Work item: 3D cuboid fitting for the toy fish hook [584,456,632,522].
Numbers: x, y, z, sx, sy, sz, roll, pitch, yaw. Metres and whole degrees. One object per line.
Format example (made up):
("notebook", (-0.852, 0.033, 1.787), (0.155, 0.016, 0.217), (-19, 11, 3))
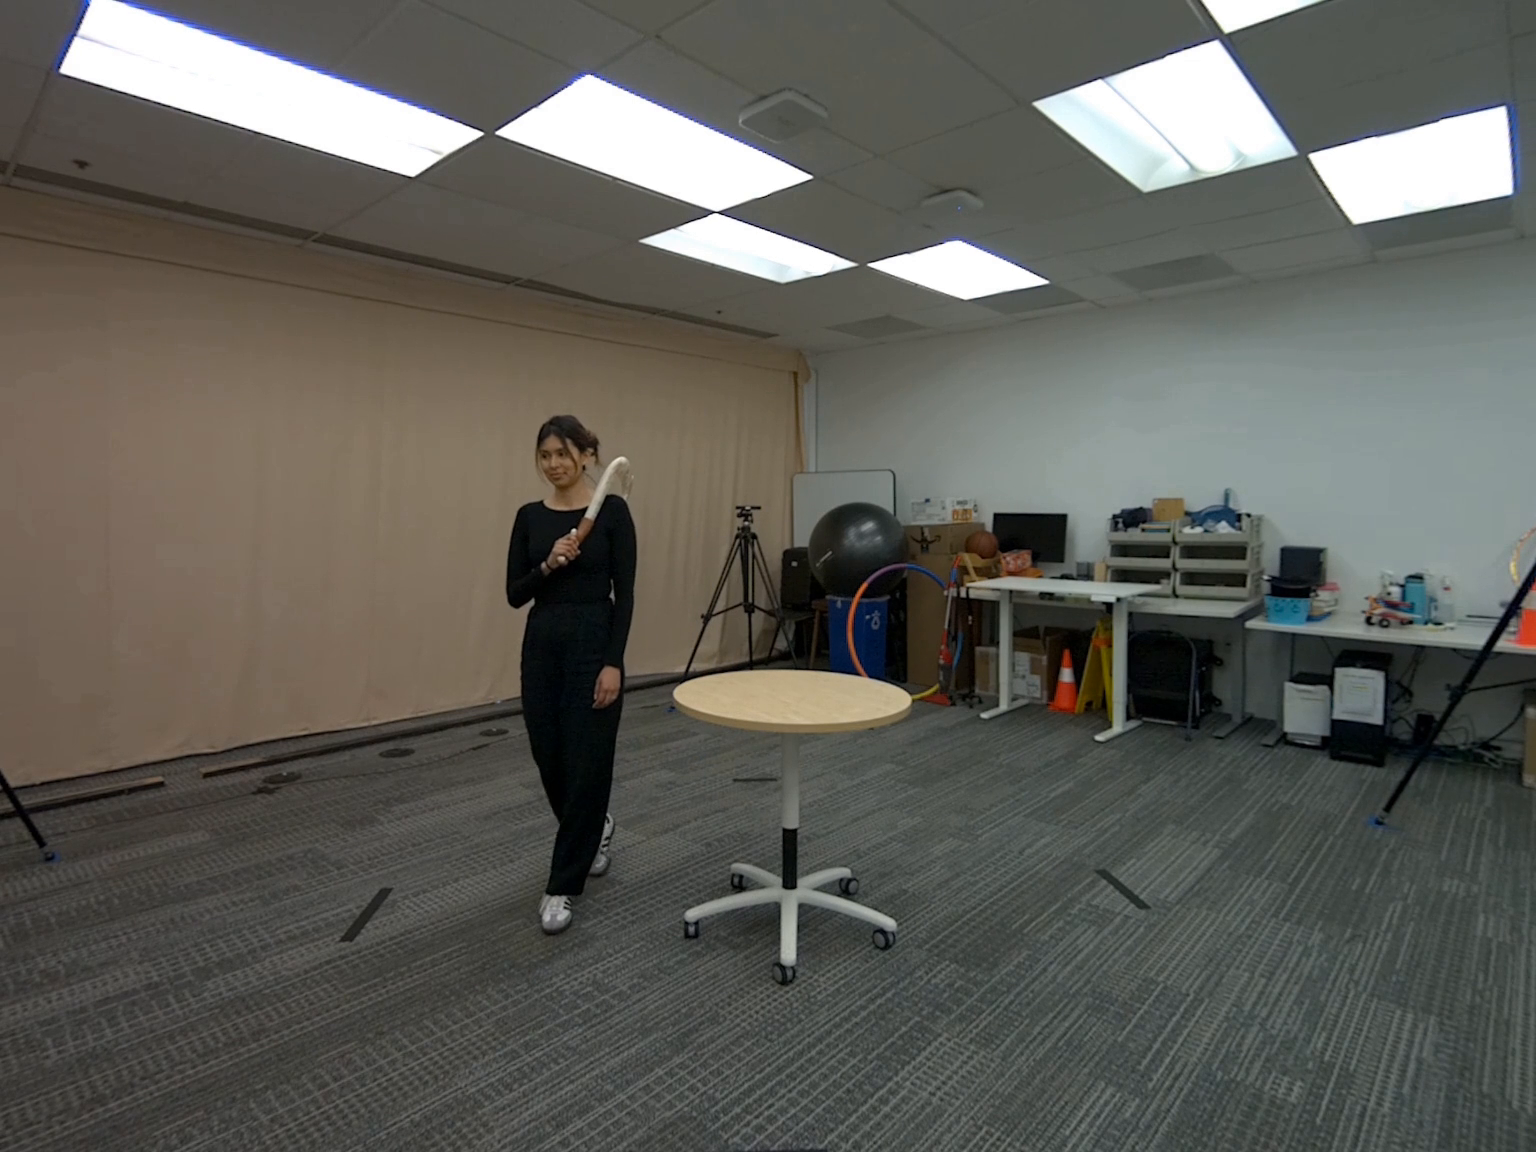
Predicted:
("toy fish hook", (-0.589, -0.197, 2.926), (0.049, 0.508, 0.219), (10, -35, 18))
